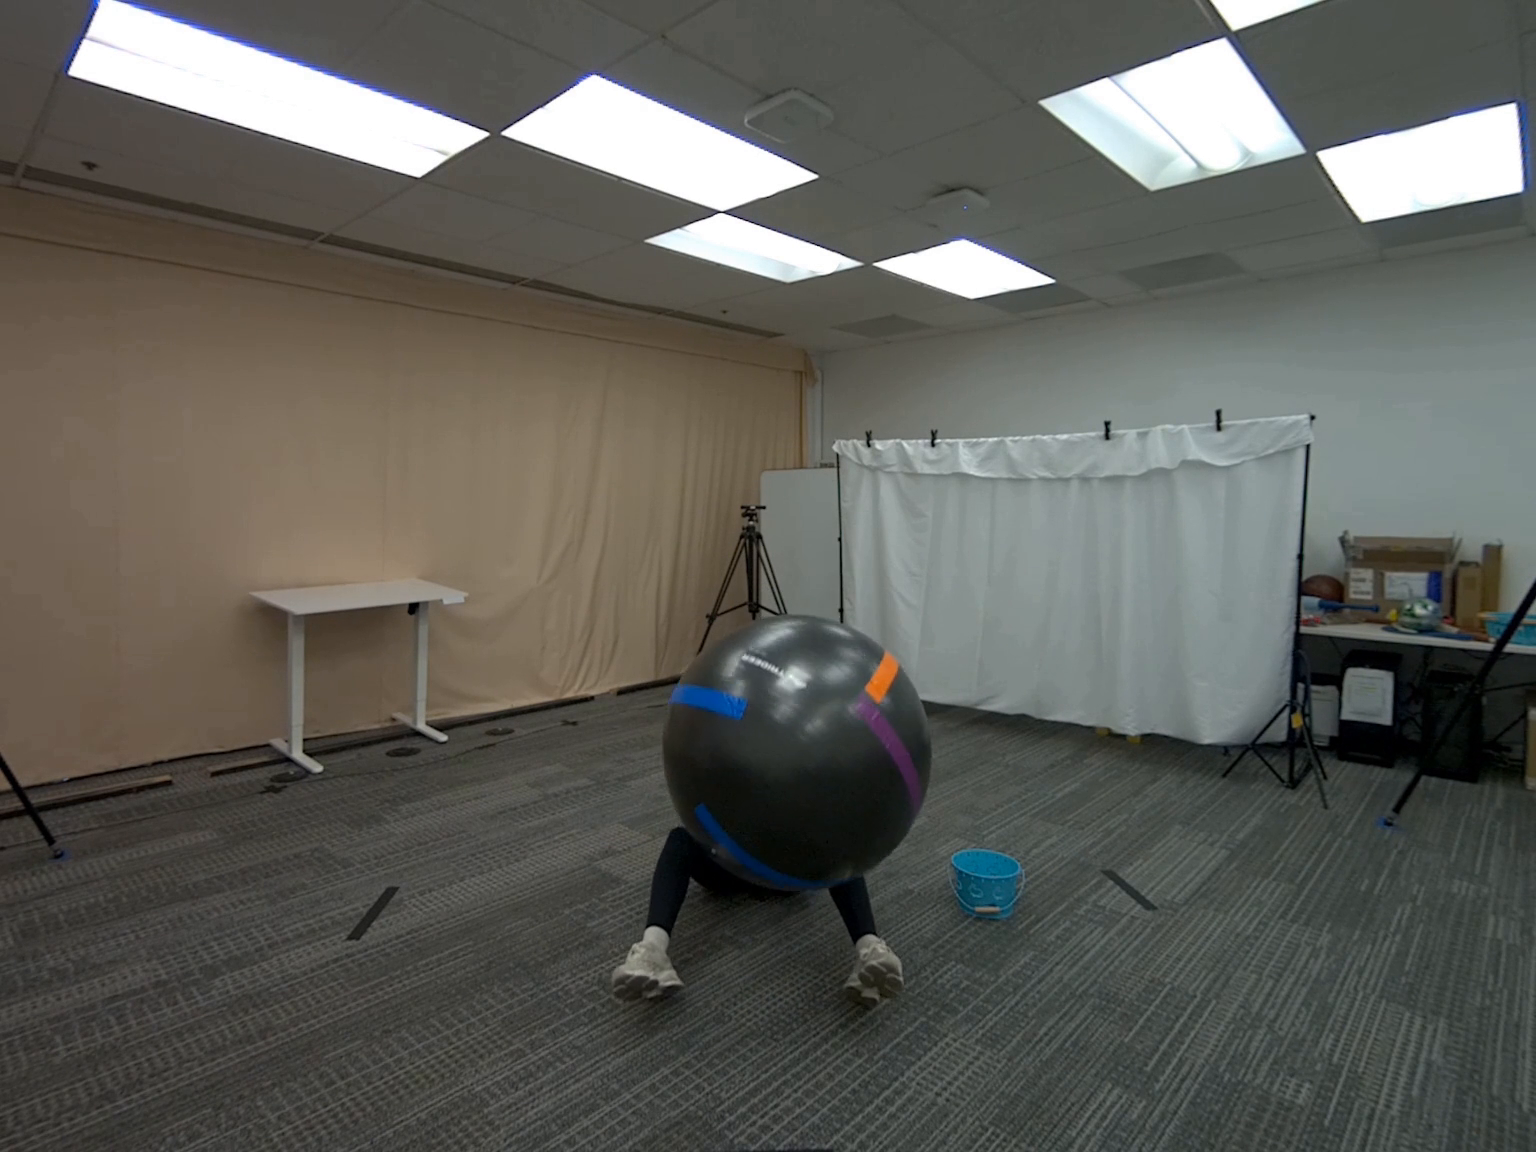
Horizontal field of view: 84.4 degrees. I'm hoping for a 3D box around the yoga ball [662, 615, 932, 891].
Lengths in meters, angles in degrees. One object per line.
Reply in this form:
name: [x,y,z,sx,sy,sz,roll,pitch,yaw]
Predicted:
yoga ball: [0.085,0.495,2.392,0.757,0.756,0.760,0,4,-2]
